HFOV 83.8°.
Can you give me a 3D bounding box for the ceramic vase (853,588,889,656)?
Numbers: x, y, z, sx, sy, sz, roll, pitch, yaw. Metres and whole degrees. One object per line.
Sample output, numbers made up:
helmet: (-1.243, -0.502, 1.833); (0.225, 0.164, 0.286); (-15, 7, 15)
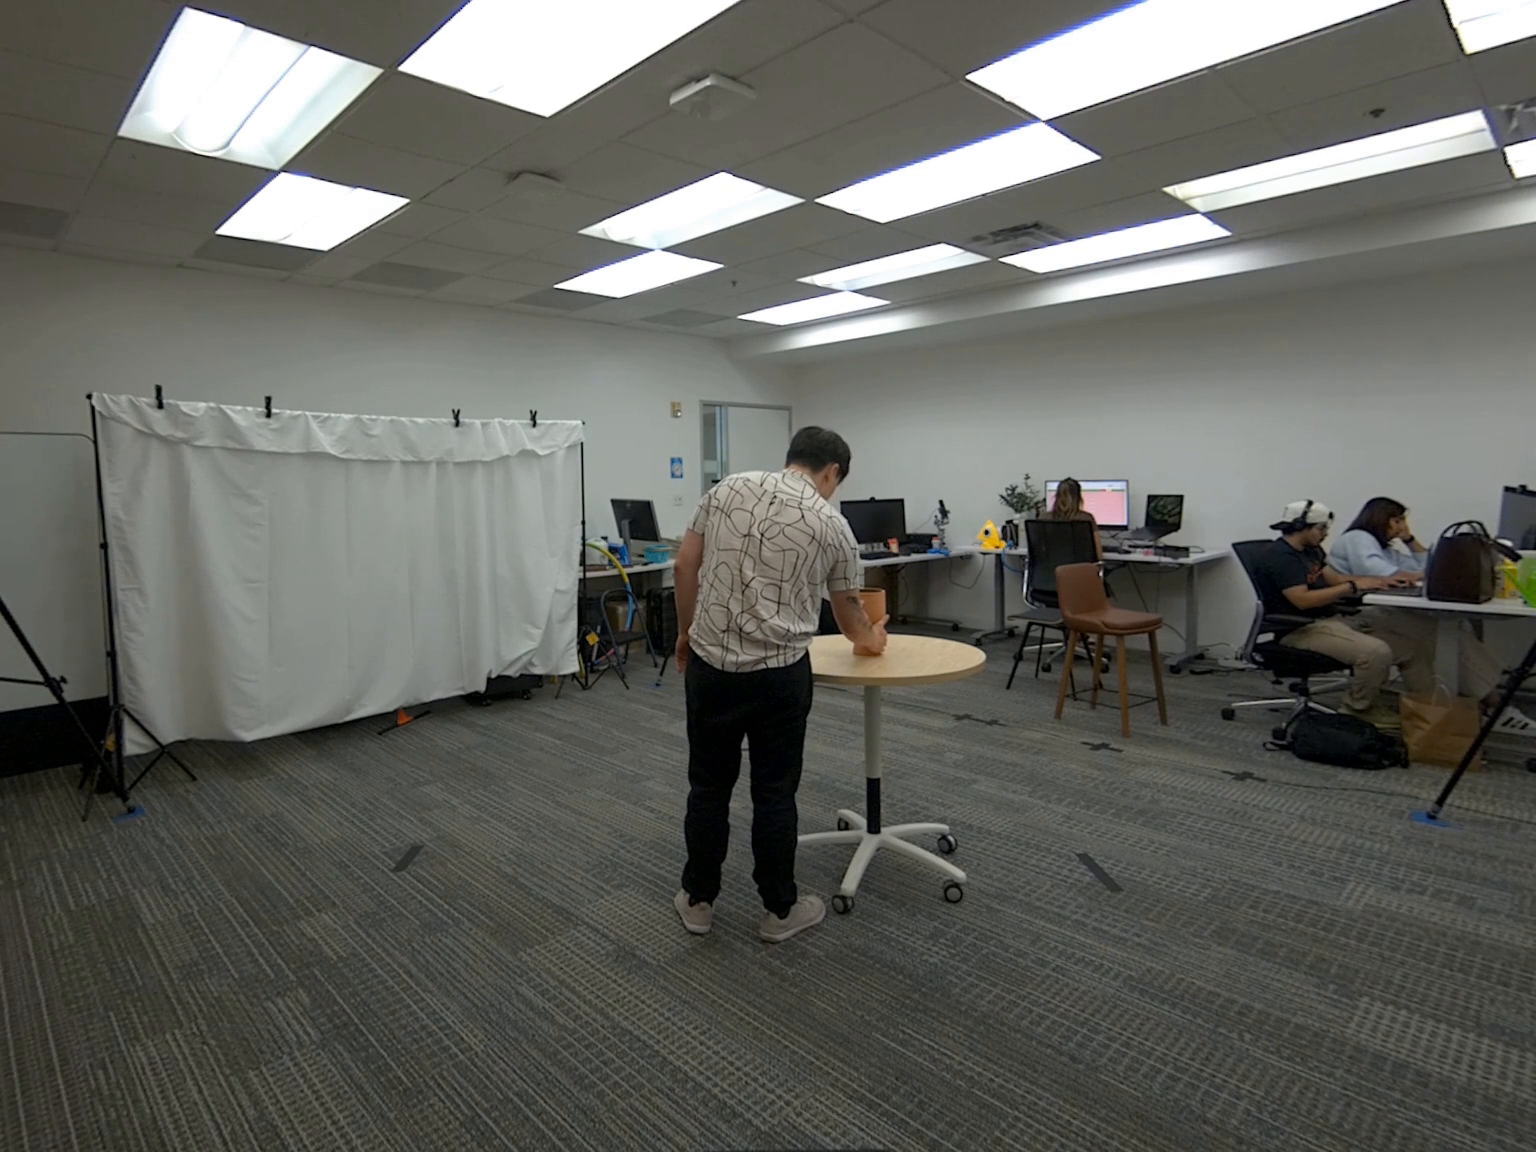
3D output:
ceramic vase: (0.350, 0.162, 2.991); (0.155, 0.219, 0.138); (-3, 4, -31)
